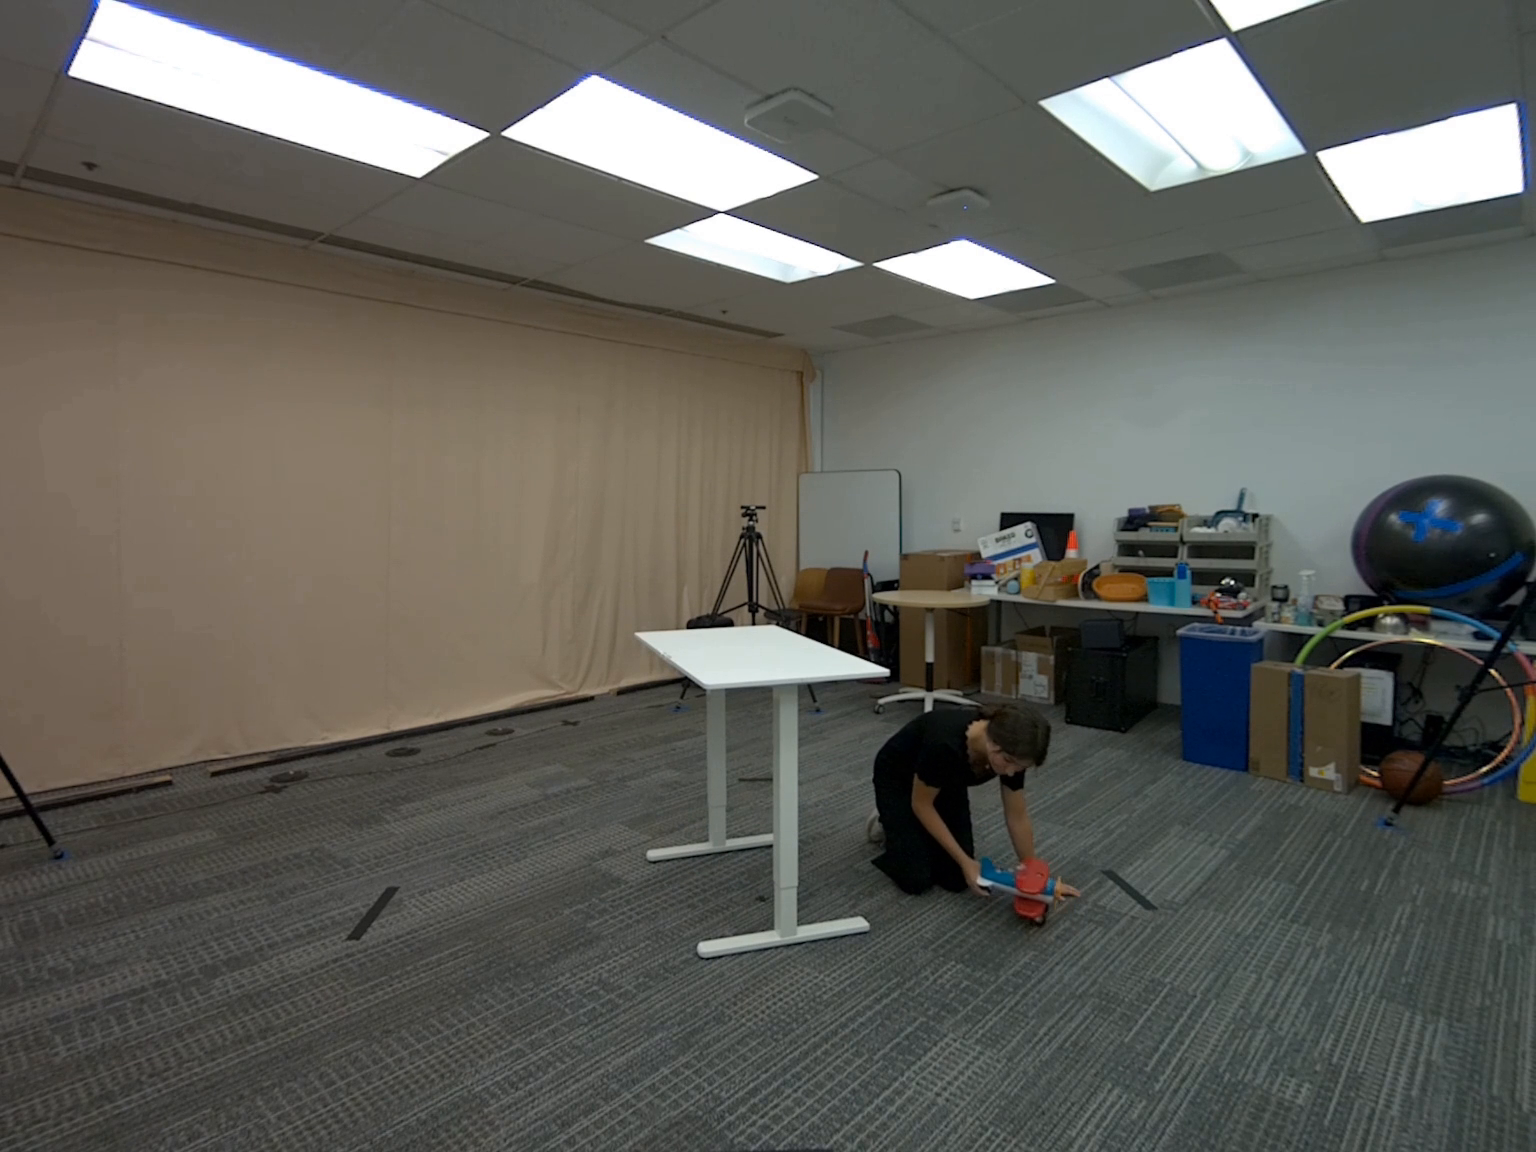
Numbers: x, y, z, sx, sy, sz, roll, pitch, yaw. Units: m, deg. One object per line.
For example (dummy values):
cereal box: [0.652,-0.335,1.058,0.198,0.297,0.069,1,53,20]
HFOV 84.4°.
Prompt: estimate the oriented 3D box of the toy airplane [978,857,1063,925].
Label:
toy airplane: [0.842,1.058,2.828,0.258,0.156,0.254,13,13,-5]
